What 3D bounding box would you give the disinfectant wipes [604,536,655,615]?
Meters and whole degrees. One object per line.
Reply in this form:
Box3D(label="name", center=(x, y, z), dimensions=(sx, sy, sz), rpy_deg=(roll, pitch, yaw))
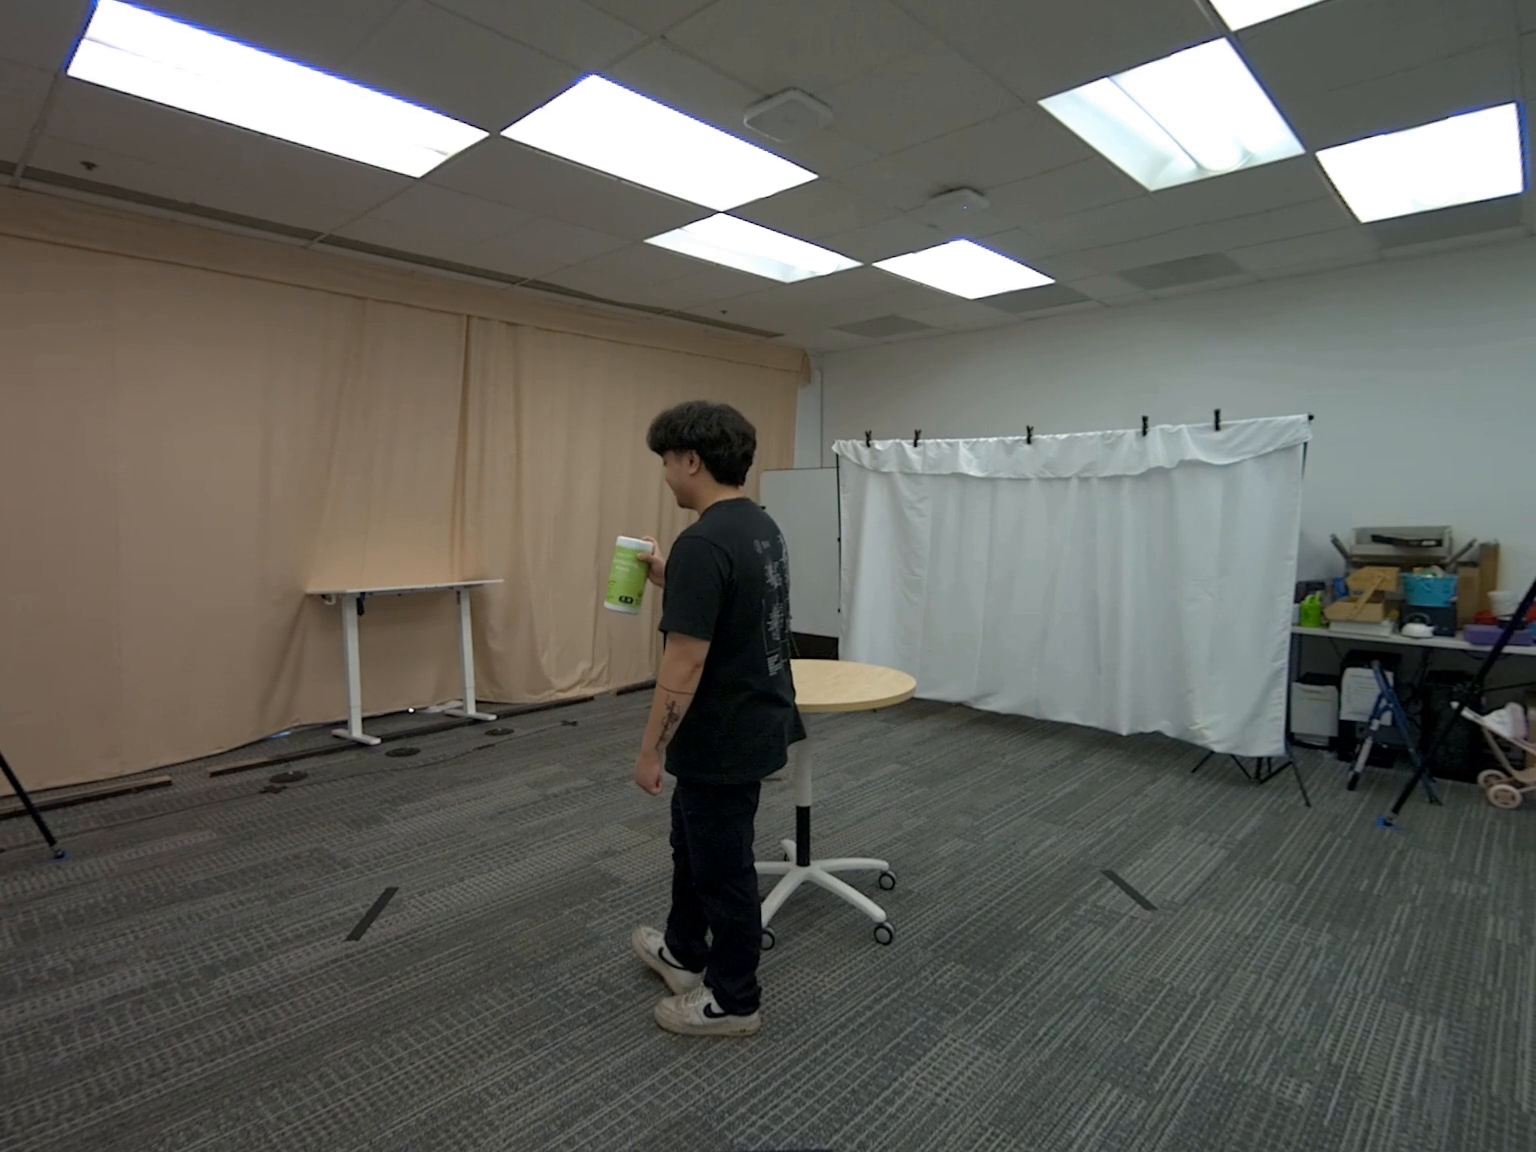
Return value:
Box3D(label="disinfectant wipes", center=(-0.404, 0.000, 2.471), dimensions=(0.117, 0.217, 0.118), rpy_deg=(11, 1, -2))
